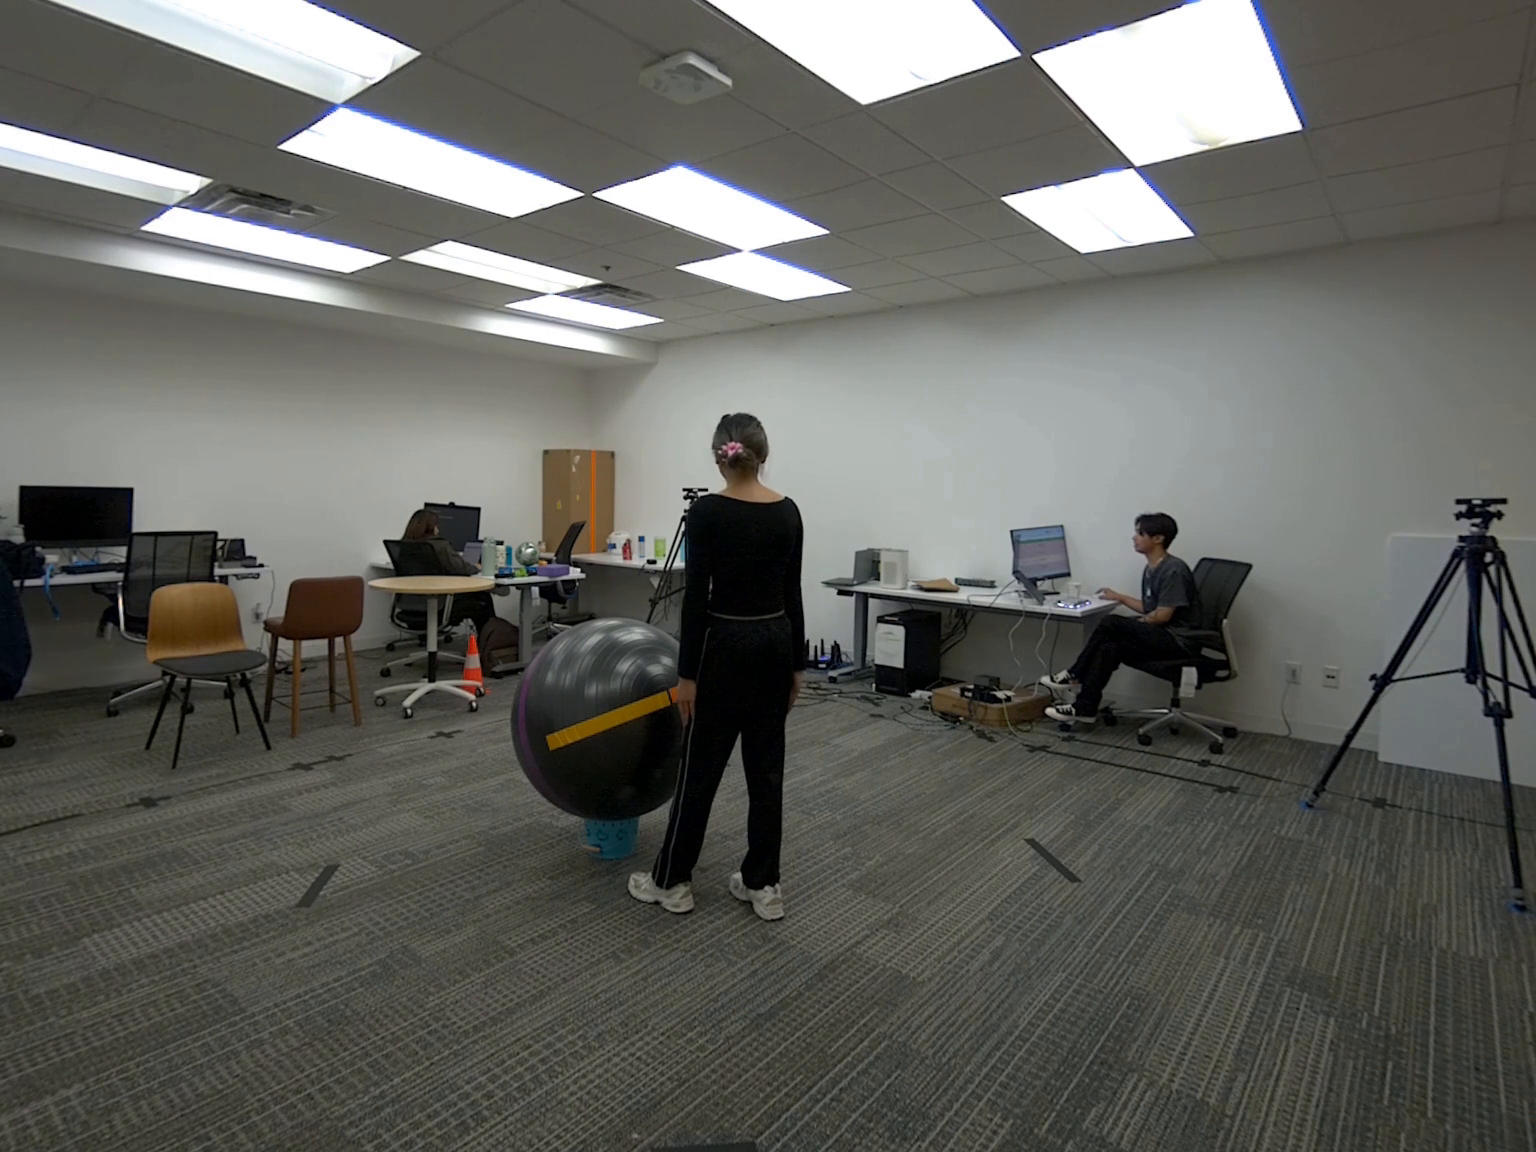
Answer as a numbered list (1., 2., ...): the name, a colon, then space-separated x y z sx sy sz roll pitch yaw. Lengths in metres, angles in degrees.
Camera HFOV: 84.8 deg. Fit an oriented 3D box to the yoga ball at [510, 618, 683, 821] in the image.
1. yoga ball: -0.611 0.543 3.252 0.757 0.755 0.762 1 4 -2
